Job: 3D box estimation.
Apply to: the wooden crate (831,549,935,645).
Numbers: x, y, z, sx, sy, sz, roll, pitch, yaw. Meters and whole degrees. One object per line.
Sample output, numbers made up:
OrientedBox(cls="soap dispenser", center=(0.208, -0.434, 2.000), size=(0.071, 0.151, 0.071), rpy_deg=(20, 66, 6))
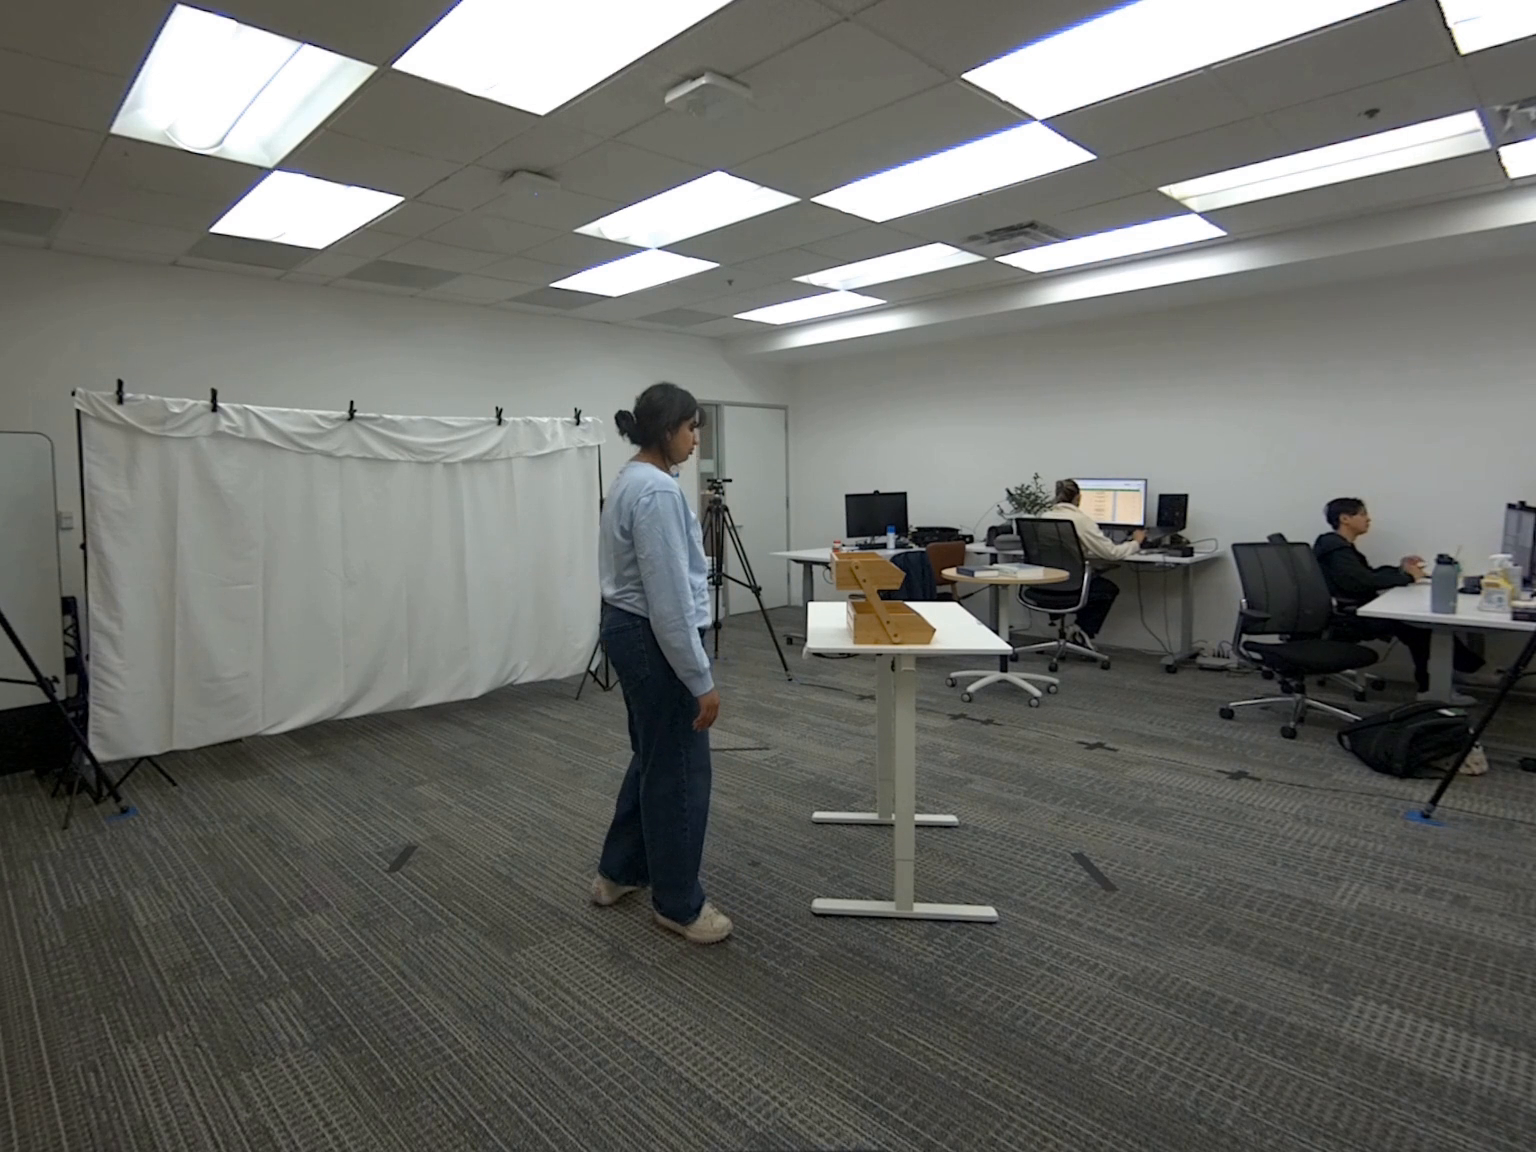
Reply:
OrientedBox(cls="wooden crate", center=(0.363, 0.061, 2.747), size=(0.303, 0.272, 0.324), rpy_deg=(-1, 5, 3))
